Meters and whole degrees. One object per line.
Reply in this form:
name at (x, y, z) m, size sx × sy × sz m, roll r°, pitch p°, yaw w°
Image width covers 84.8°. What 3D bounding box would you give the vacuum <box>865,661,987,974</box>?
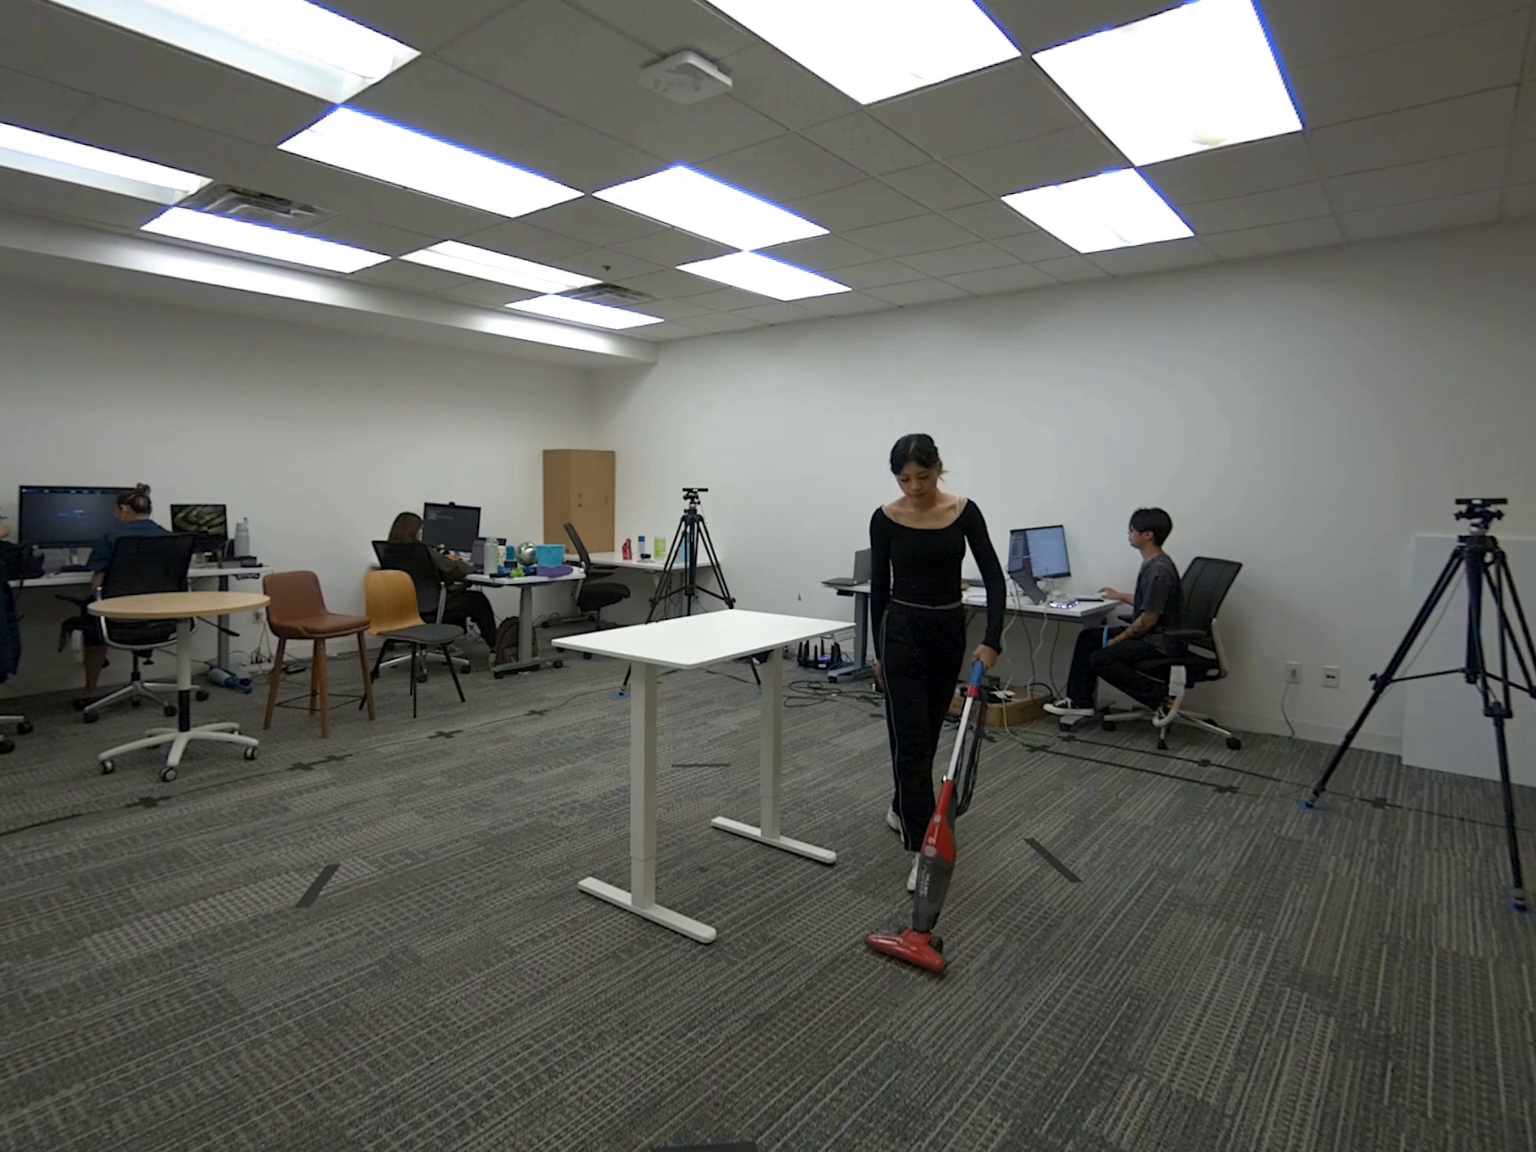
vacuum at (0.602, 0.694, 2.771) m, size 0.260 × 1.060 × 0.138 m, roll 7°, pitch -28°, yaw 30°
